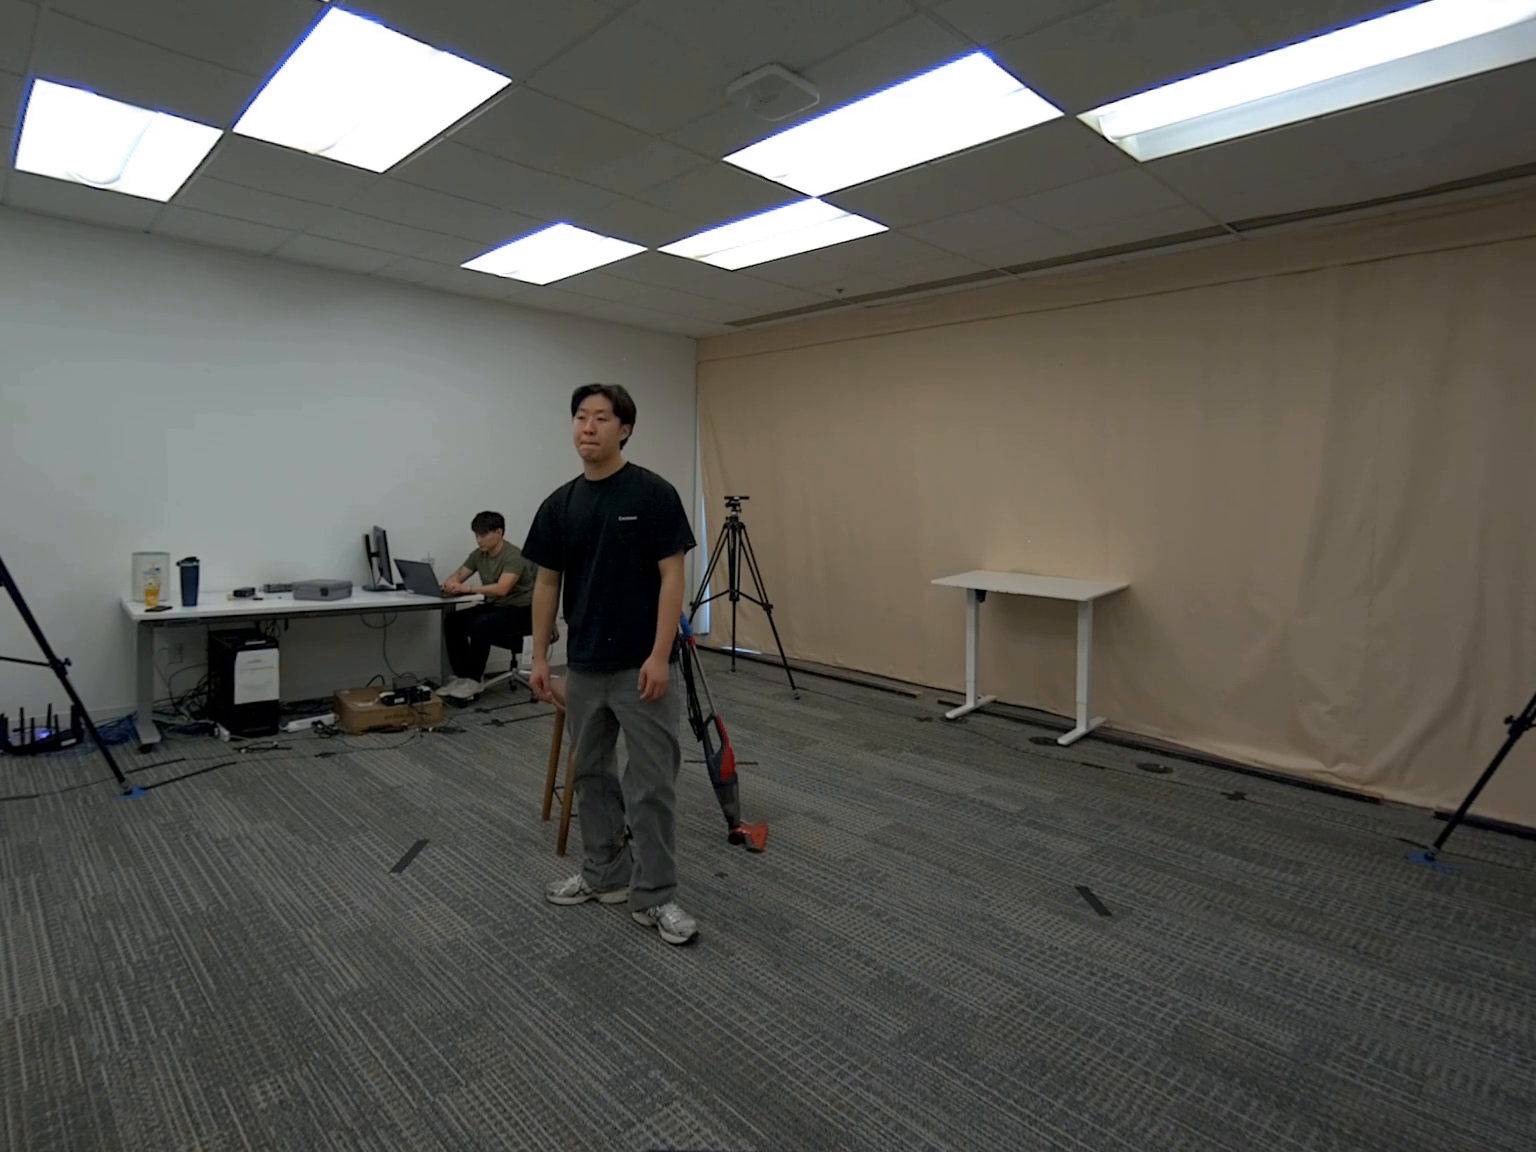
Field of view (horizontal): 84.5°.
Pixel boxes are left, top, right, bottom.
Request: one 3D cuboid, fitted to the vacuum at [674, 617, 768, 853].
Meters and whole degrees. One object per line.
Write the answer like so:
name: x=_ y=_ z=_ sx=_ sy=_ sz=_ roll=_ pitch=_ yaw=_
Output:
vacuum: x=-0.259 y=0.577 z=3.442 sx=0.144 sy=1.050 sz=0.252 roll=-18 pitch=-1 yaw=3
